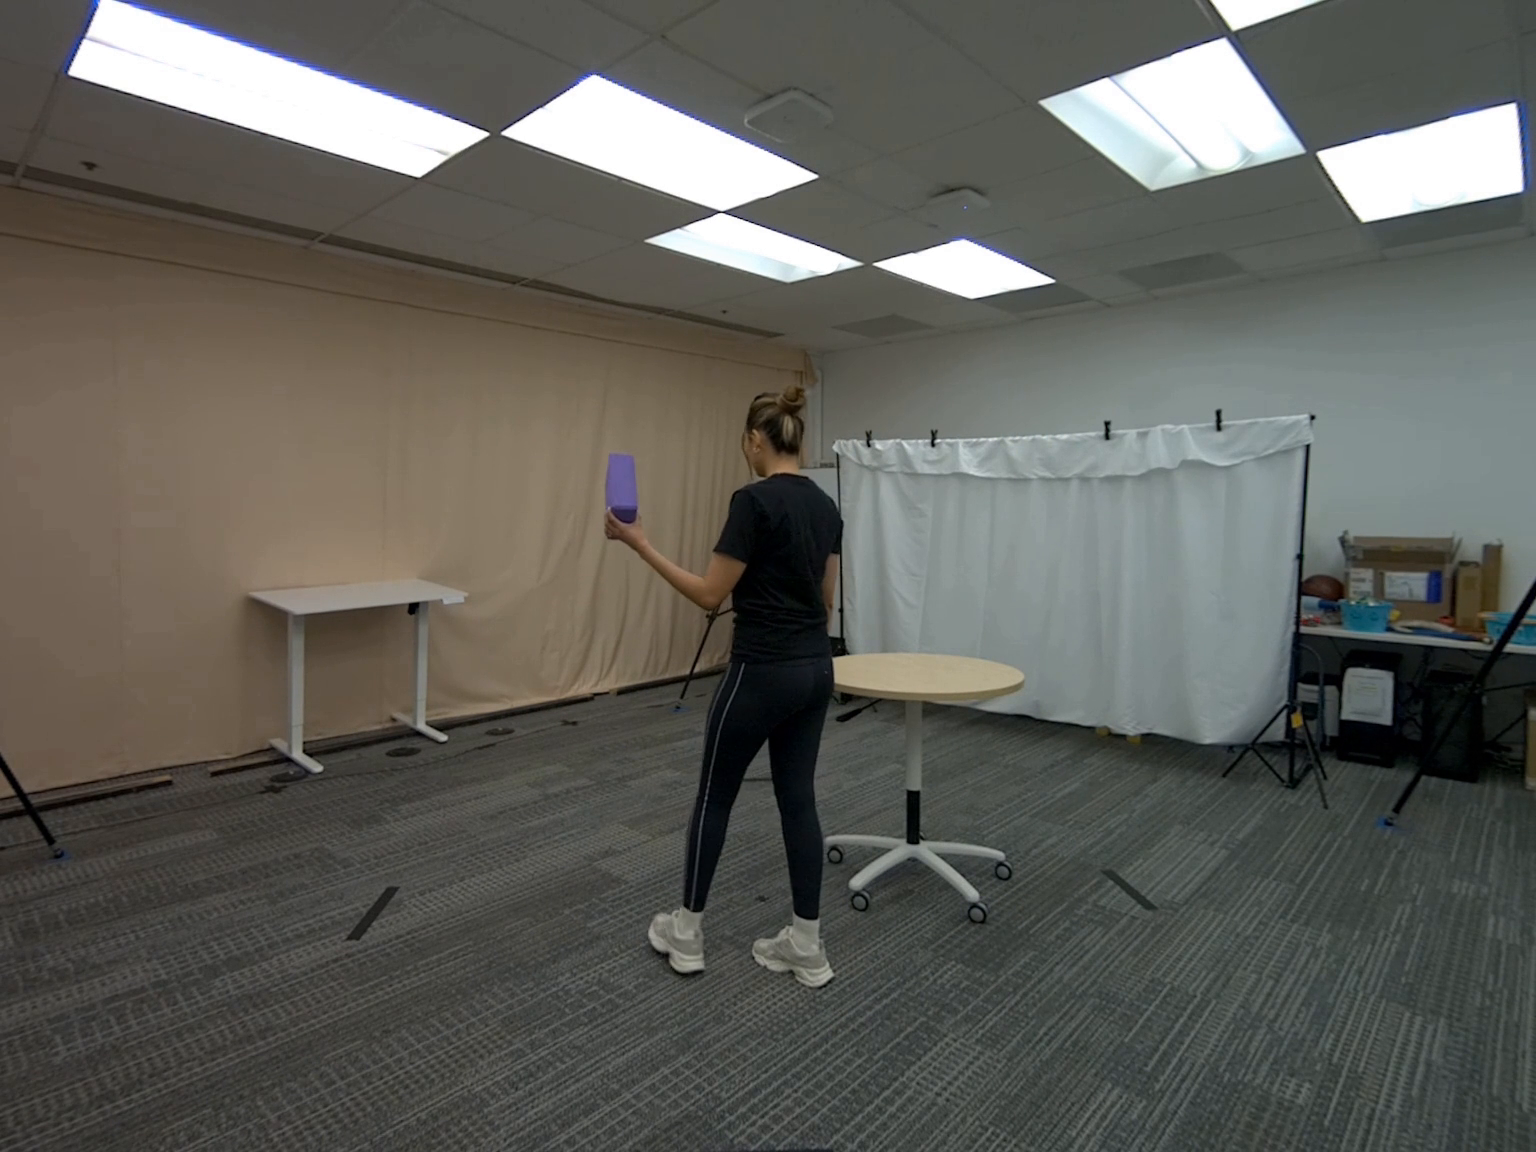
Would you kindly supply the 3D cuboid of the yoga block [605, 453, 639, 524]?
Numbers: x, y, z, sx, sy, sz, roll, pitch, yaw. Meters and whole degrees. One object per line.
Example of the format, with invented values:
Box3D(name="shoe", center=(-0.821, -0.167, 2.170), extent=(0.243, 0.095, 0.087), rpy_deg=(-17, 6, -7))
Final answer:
Box3D(name="yoga block", center=(-0.430, -0.236, 2.522), extent=(0.075, 0.235, 0.147), rpy_deg=(-2, -40, -13))
